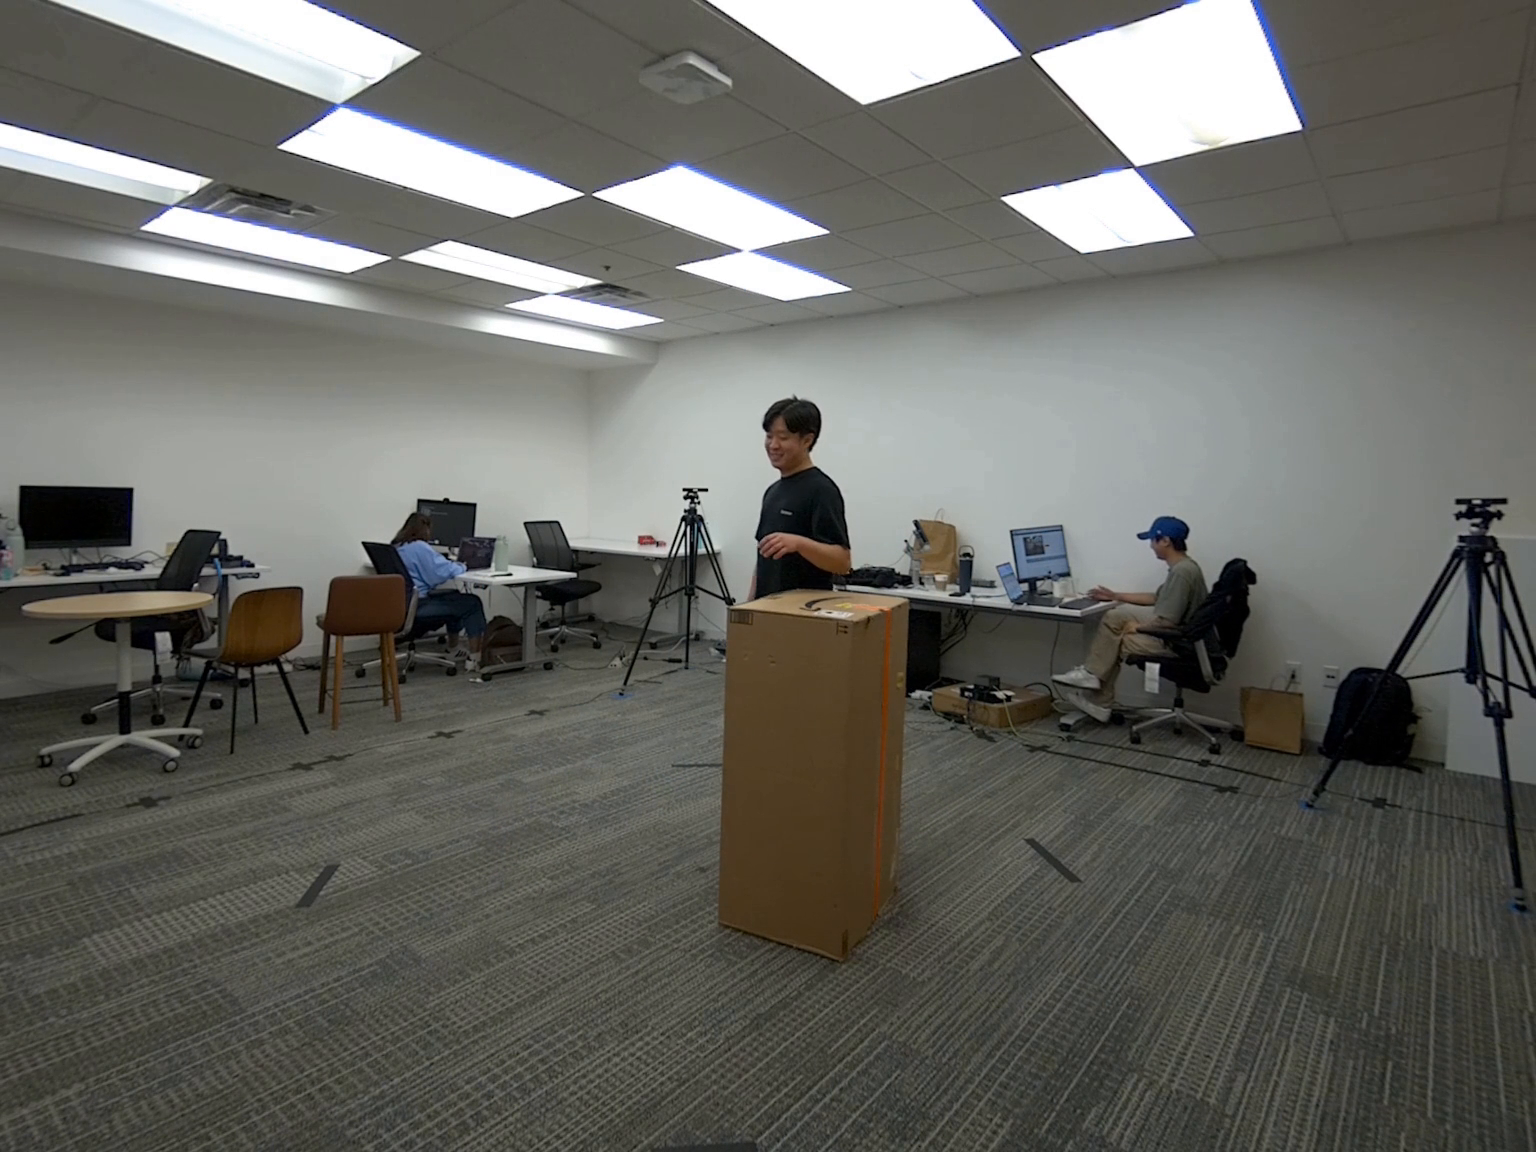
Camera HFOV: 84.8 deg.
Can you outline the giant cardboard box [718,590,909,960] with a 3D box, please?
[{"bbox_3d":[0.162,0.592,2.829,0.460,1.023,0.569,4,5,28],"label":"giant cardboard box"}]
